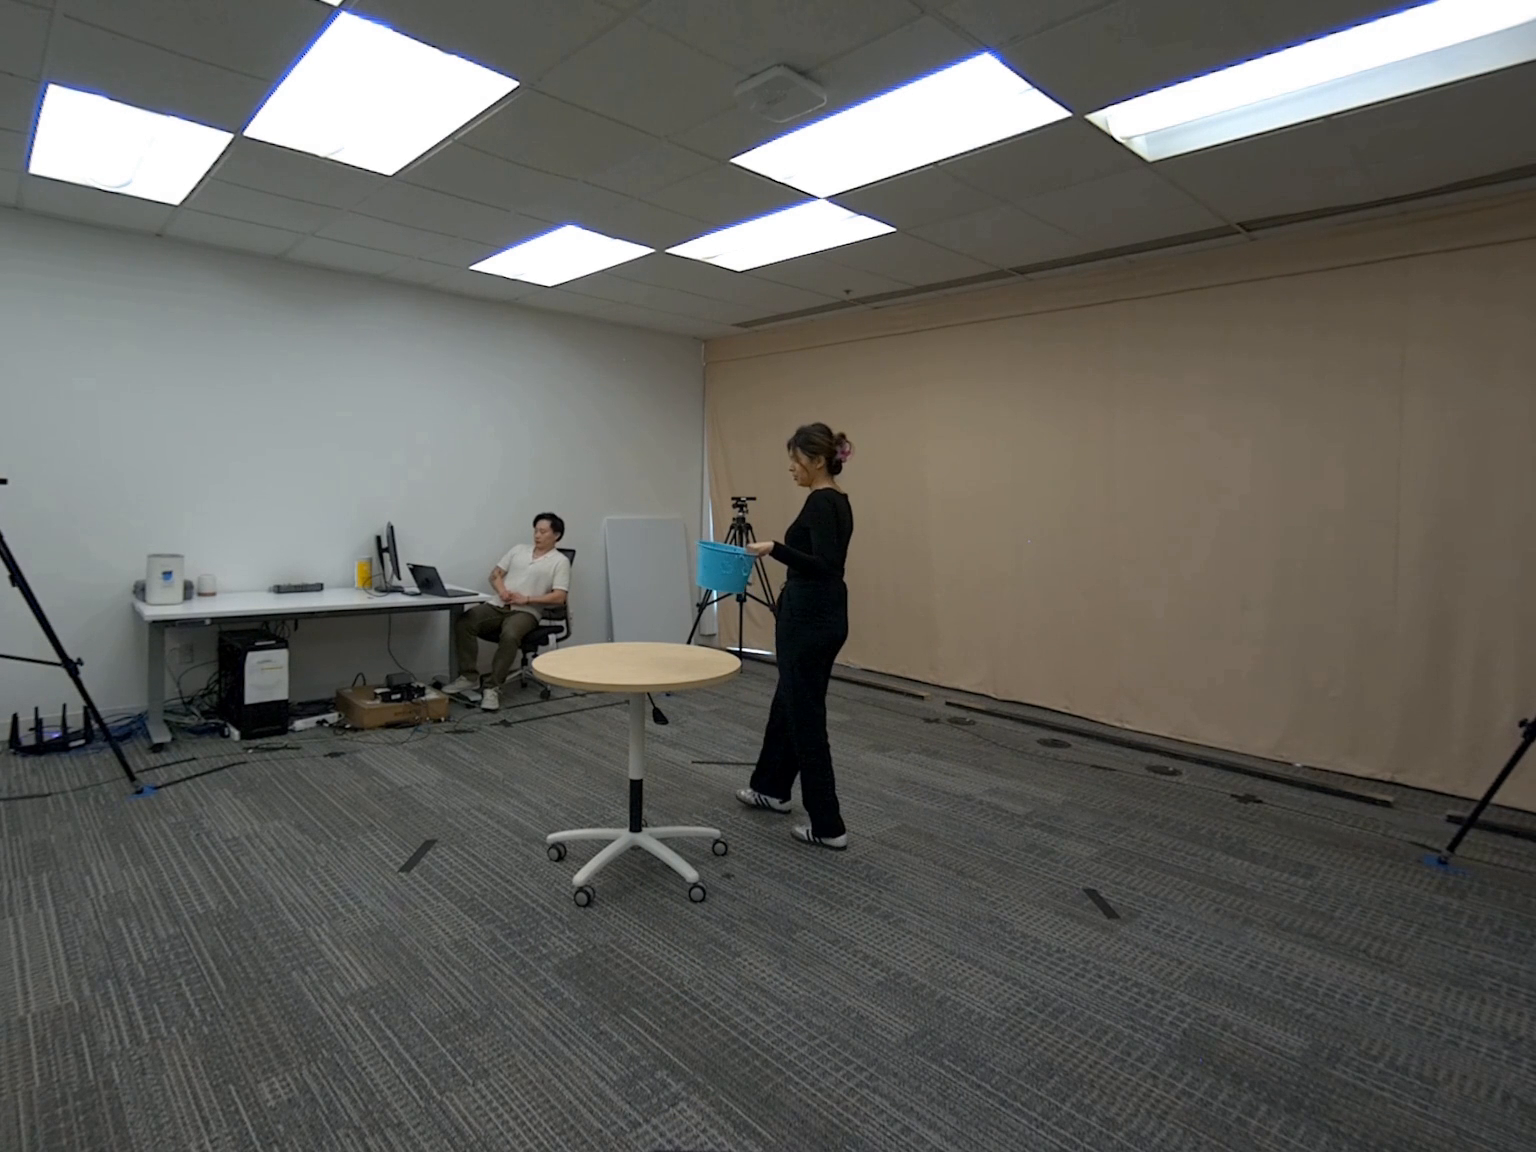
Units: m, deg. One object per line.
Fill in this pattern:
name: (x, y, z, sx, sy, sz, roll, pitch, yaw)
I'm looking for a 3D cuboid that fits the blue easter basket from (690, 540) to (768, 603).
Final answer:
blue easter basket: (-0.145, -0.023, 3.092, 0.243, 0.155, 0.245, 10, 6, -3)
